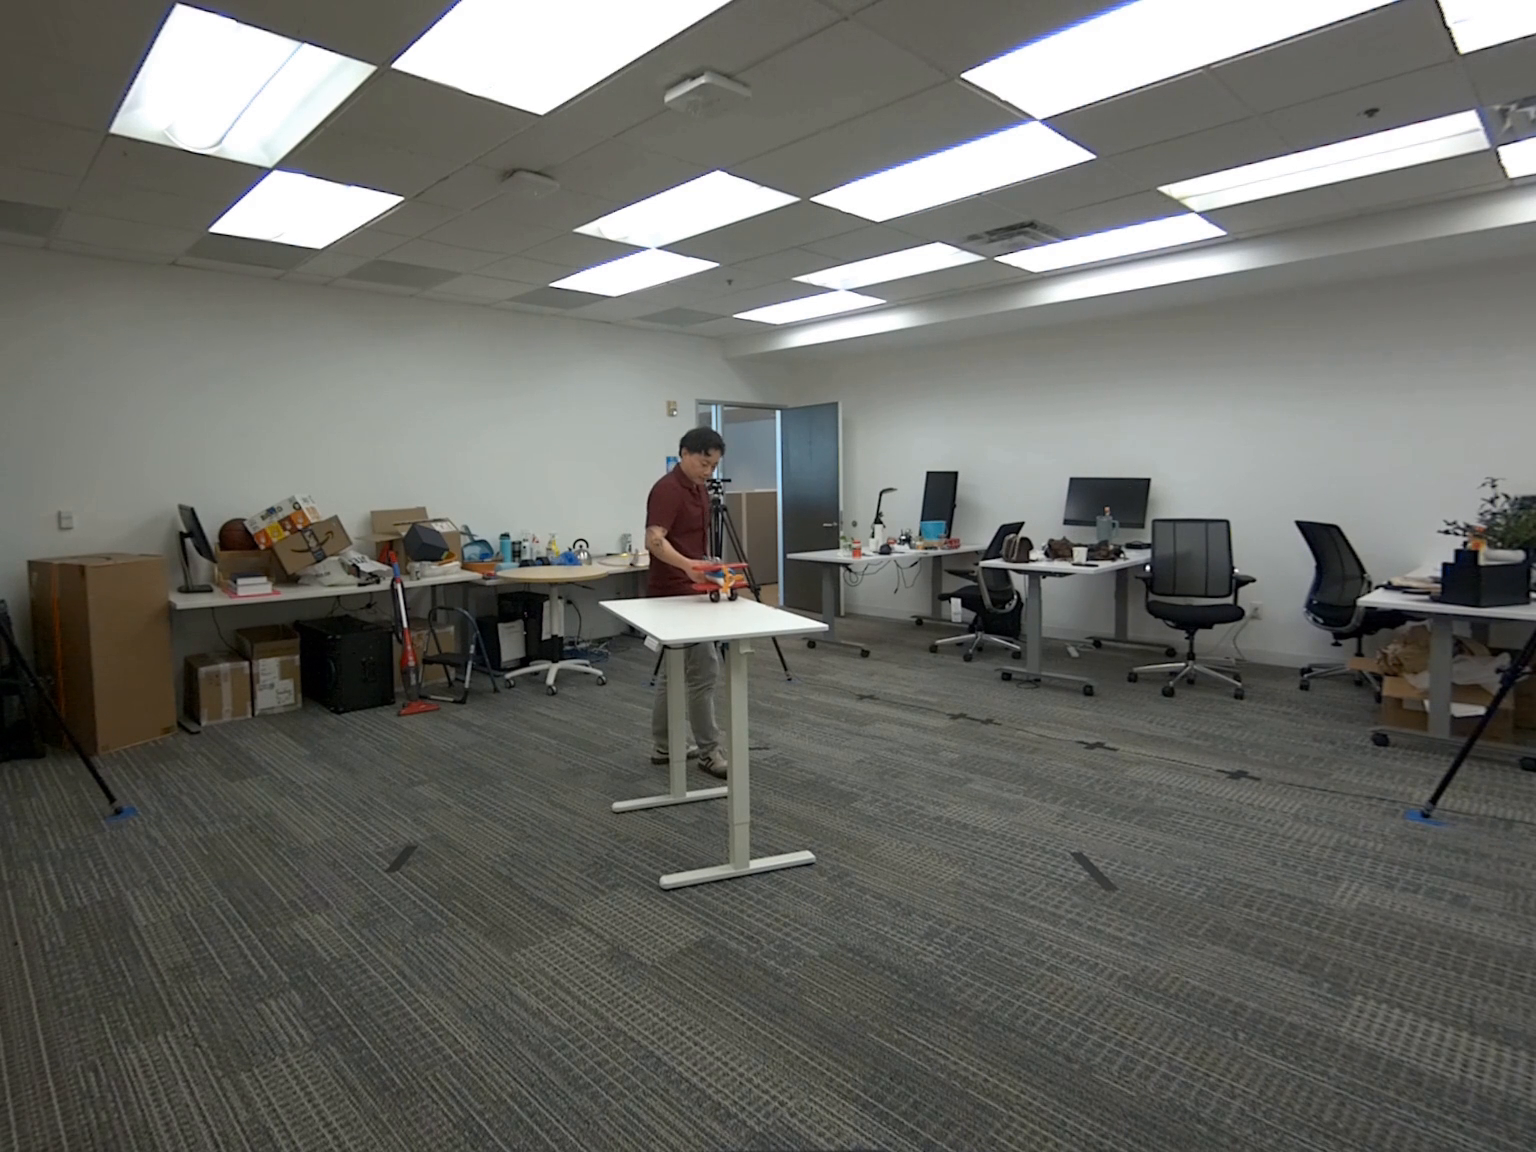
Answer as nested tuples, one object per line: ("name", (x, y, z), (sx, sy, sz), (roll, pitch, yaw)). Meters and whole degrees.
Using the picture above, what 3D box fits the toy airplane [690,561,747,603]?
("toy airplane", (-0.239, 0.008, 3.668), (0.267, 0.154, 0.247), (19, 21, 29))
